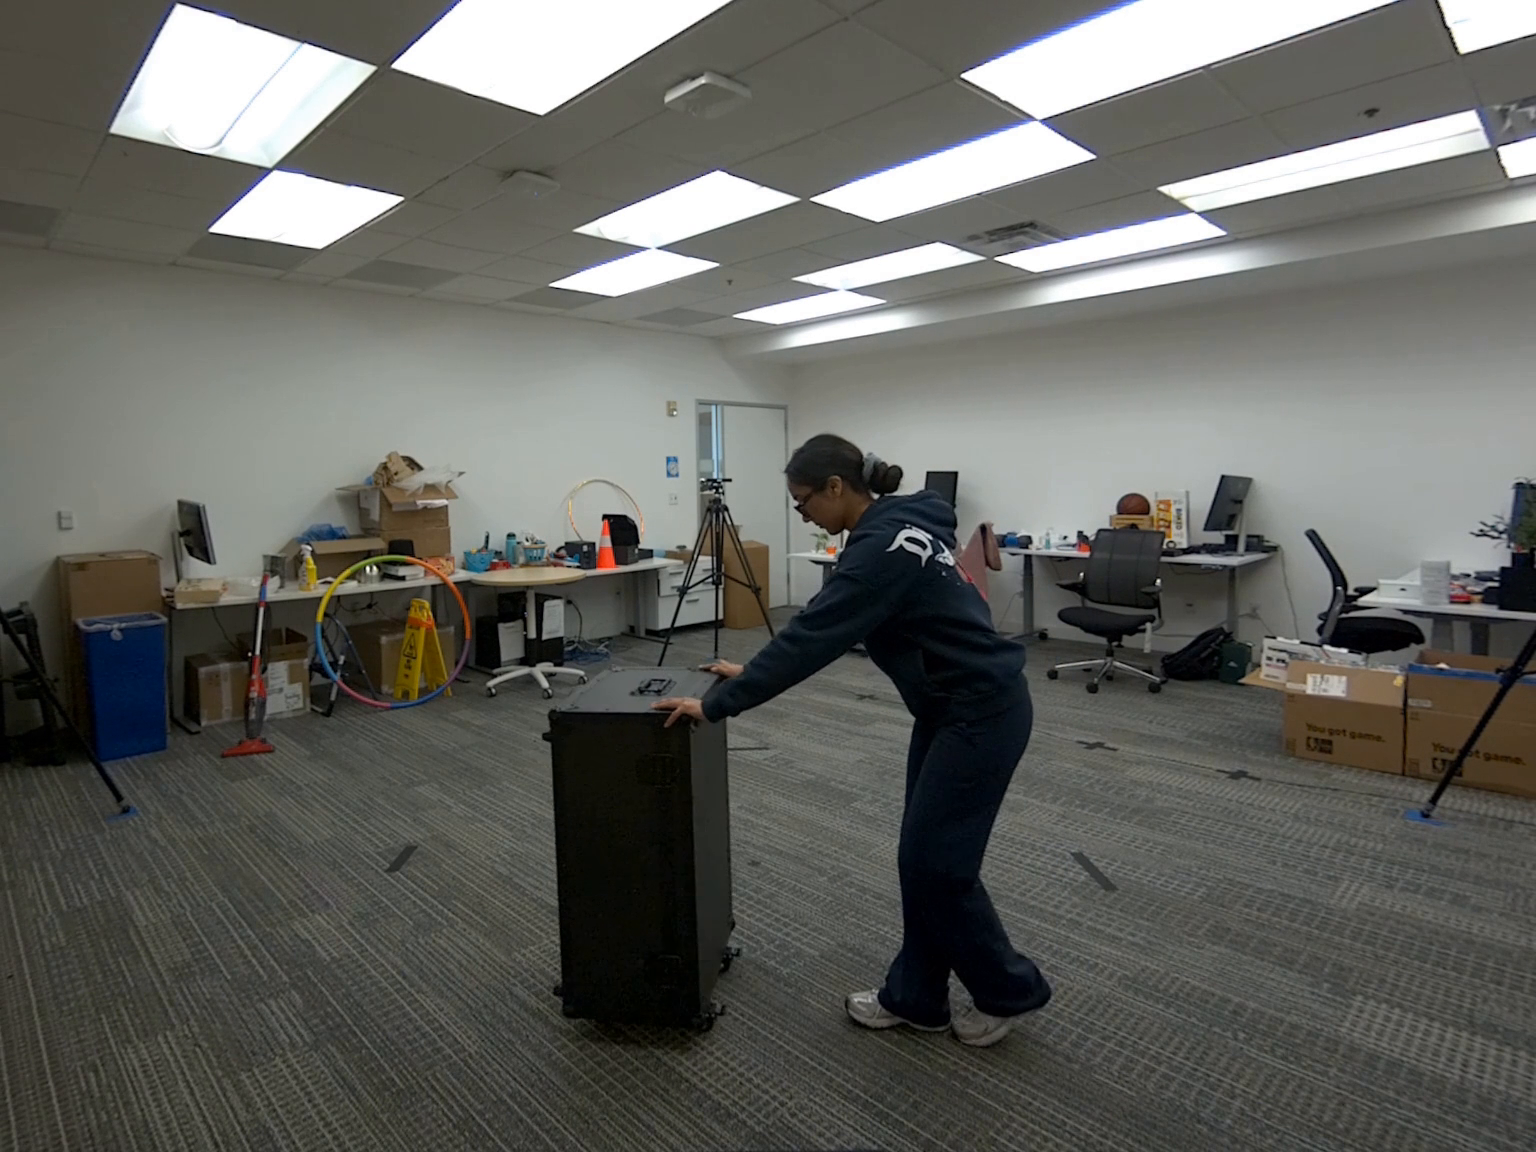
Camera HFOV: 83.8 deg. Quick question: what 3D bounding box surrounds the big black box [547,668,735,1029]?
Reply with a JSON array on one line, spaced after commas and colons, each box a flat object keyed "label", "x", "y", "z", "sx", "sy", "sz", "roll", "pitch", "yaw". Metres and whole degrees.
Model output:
[{"label": "big black box", "x": -0.319, "y": 0.717, "z": 2.304, "sx": 0.400, "sy": 0.858, "sz": 0.518, "roll": -1, "pitch": 4, "yaw": 10}]
